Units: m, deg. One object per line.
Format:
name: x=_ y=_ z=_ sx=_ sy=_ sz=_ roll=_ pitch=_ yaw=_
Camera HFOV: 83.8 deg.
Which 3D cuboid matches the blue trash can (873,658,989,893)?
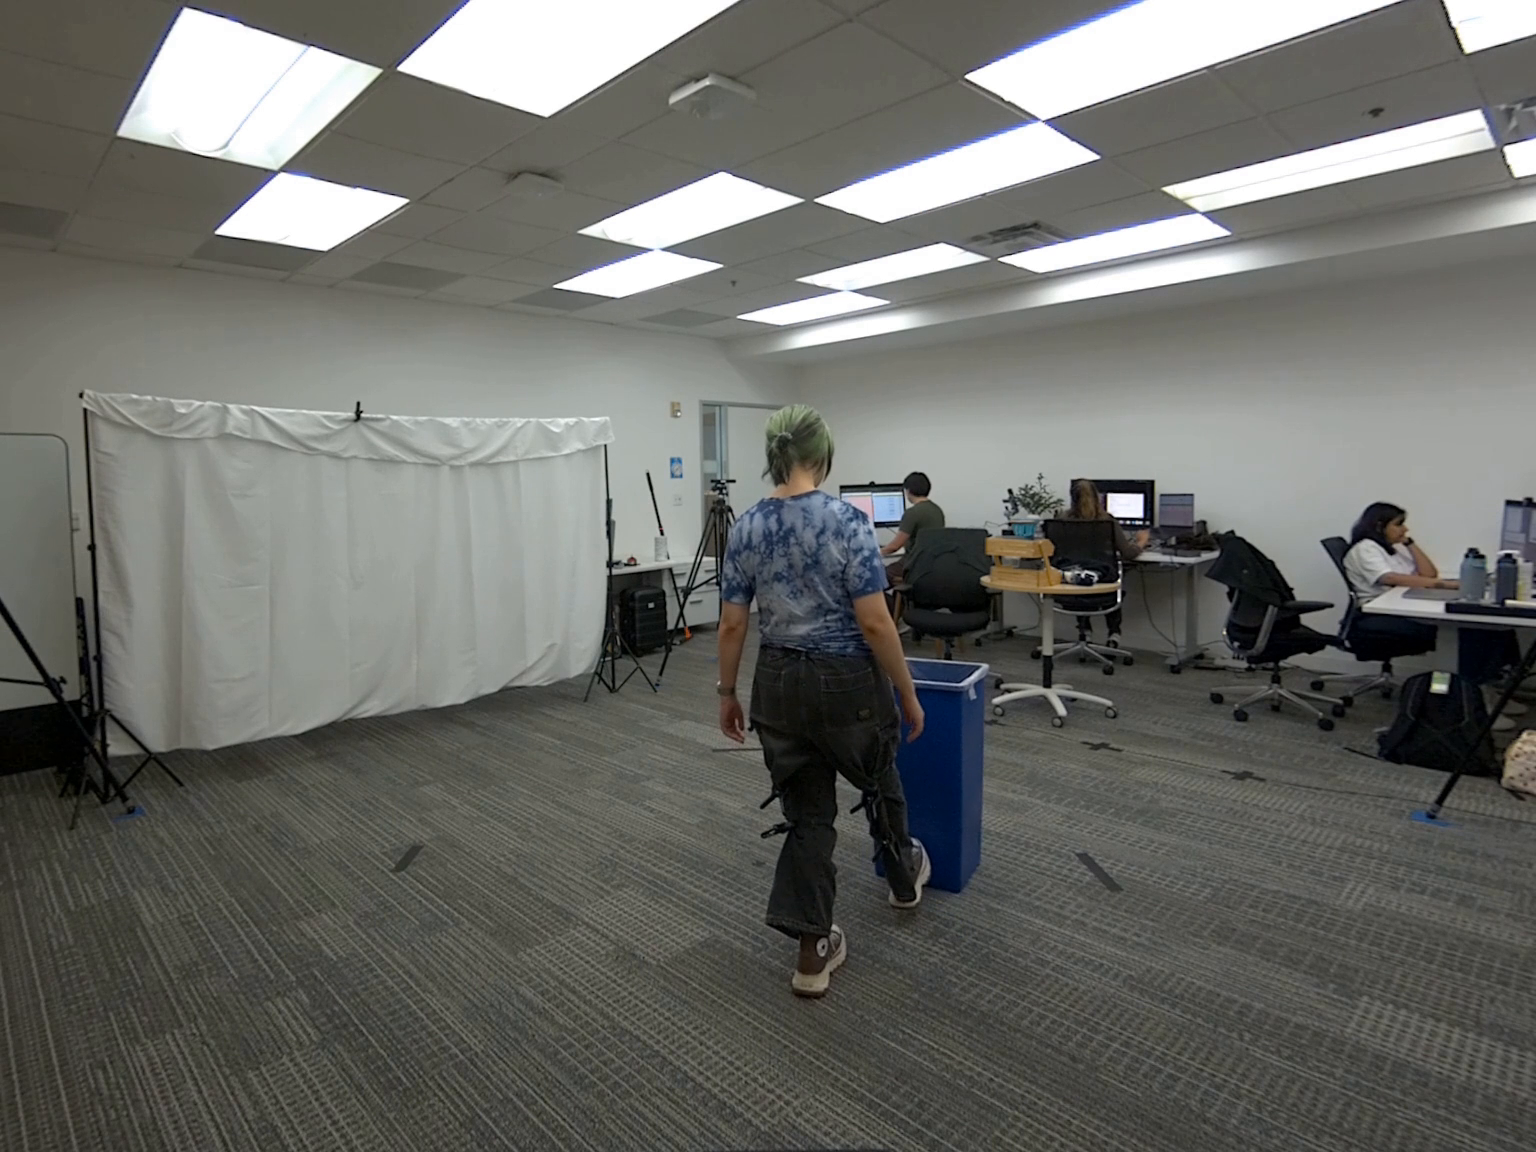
blue trash can: x=0.569 y=0.686 z=3.044 sx=0.383 sy=0.711 sz=0.370 roll=1 pitch=4 yaw=29
